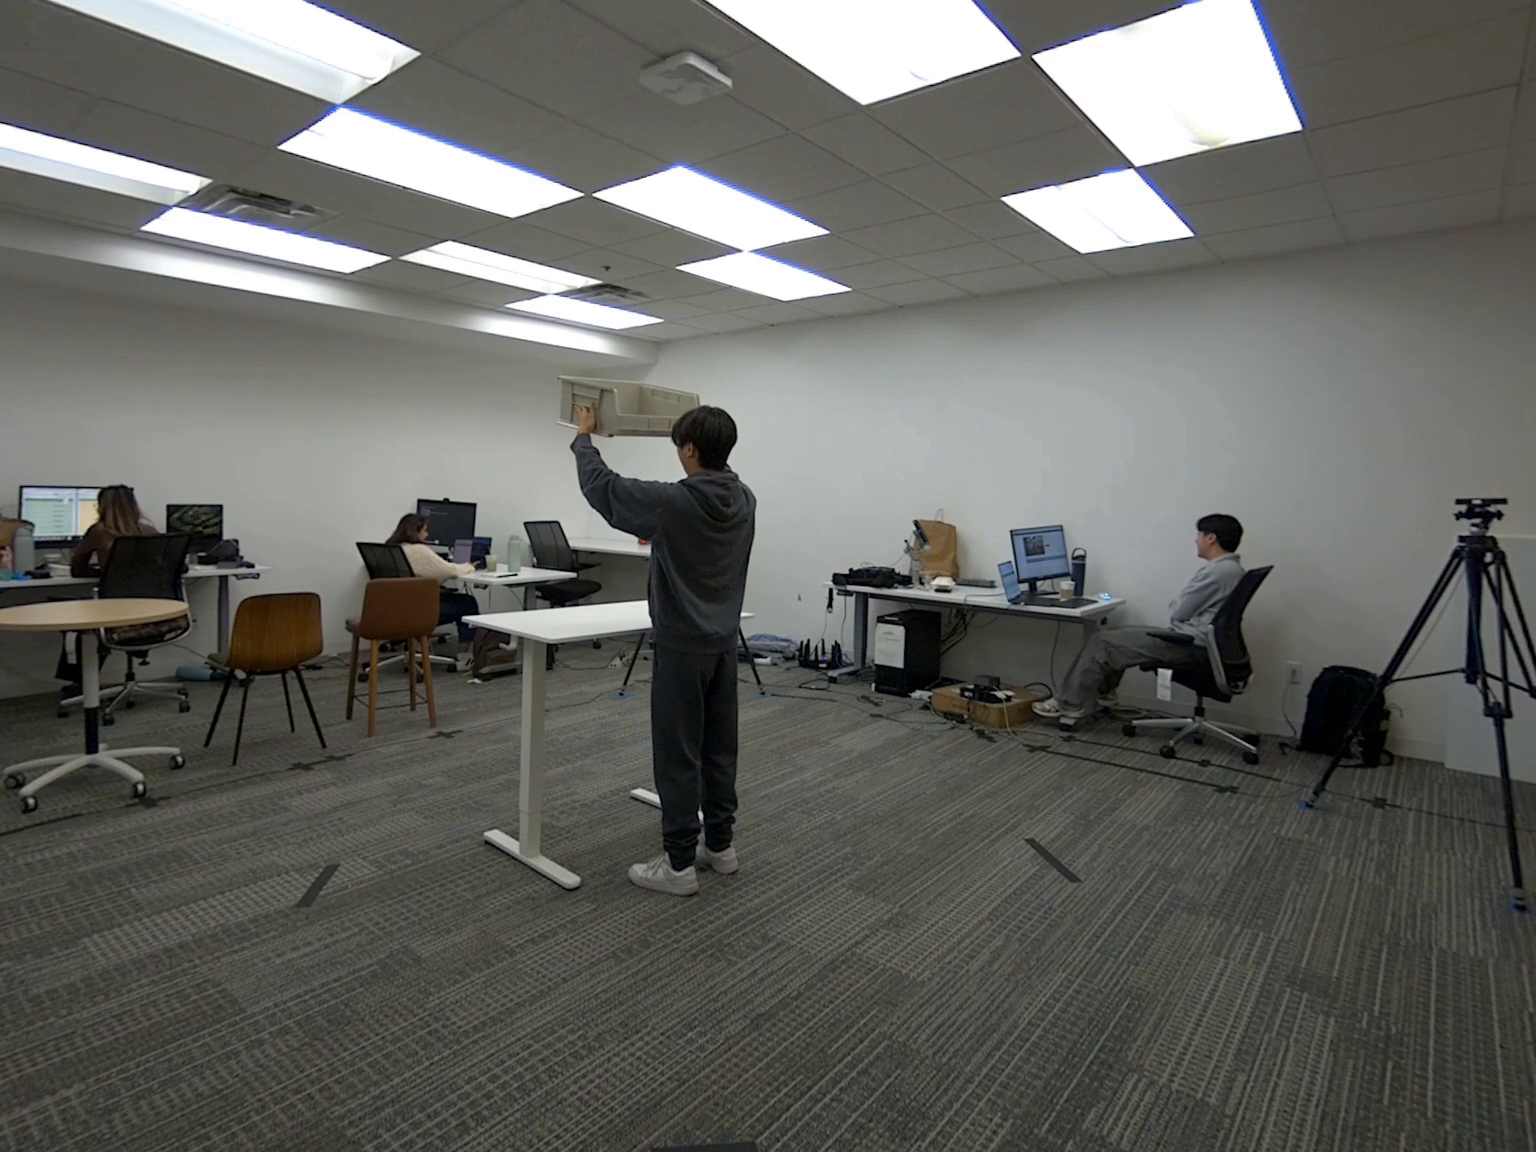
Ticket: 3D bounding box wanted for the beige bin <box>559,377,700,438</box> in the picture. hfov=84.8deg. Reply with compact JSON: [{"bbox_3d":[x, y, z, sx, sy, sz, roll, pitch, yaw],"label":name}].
[{"bbox_3d":[-0.541,-0.641,3.255,0.392,0.187,0.410,19,19,40],"label":"beige bin"}]
